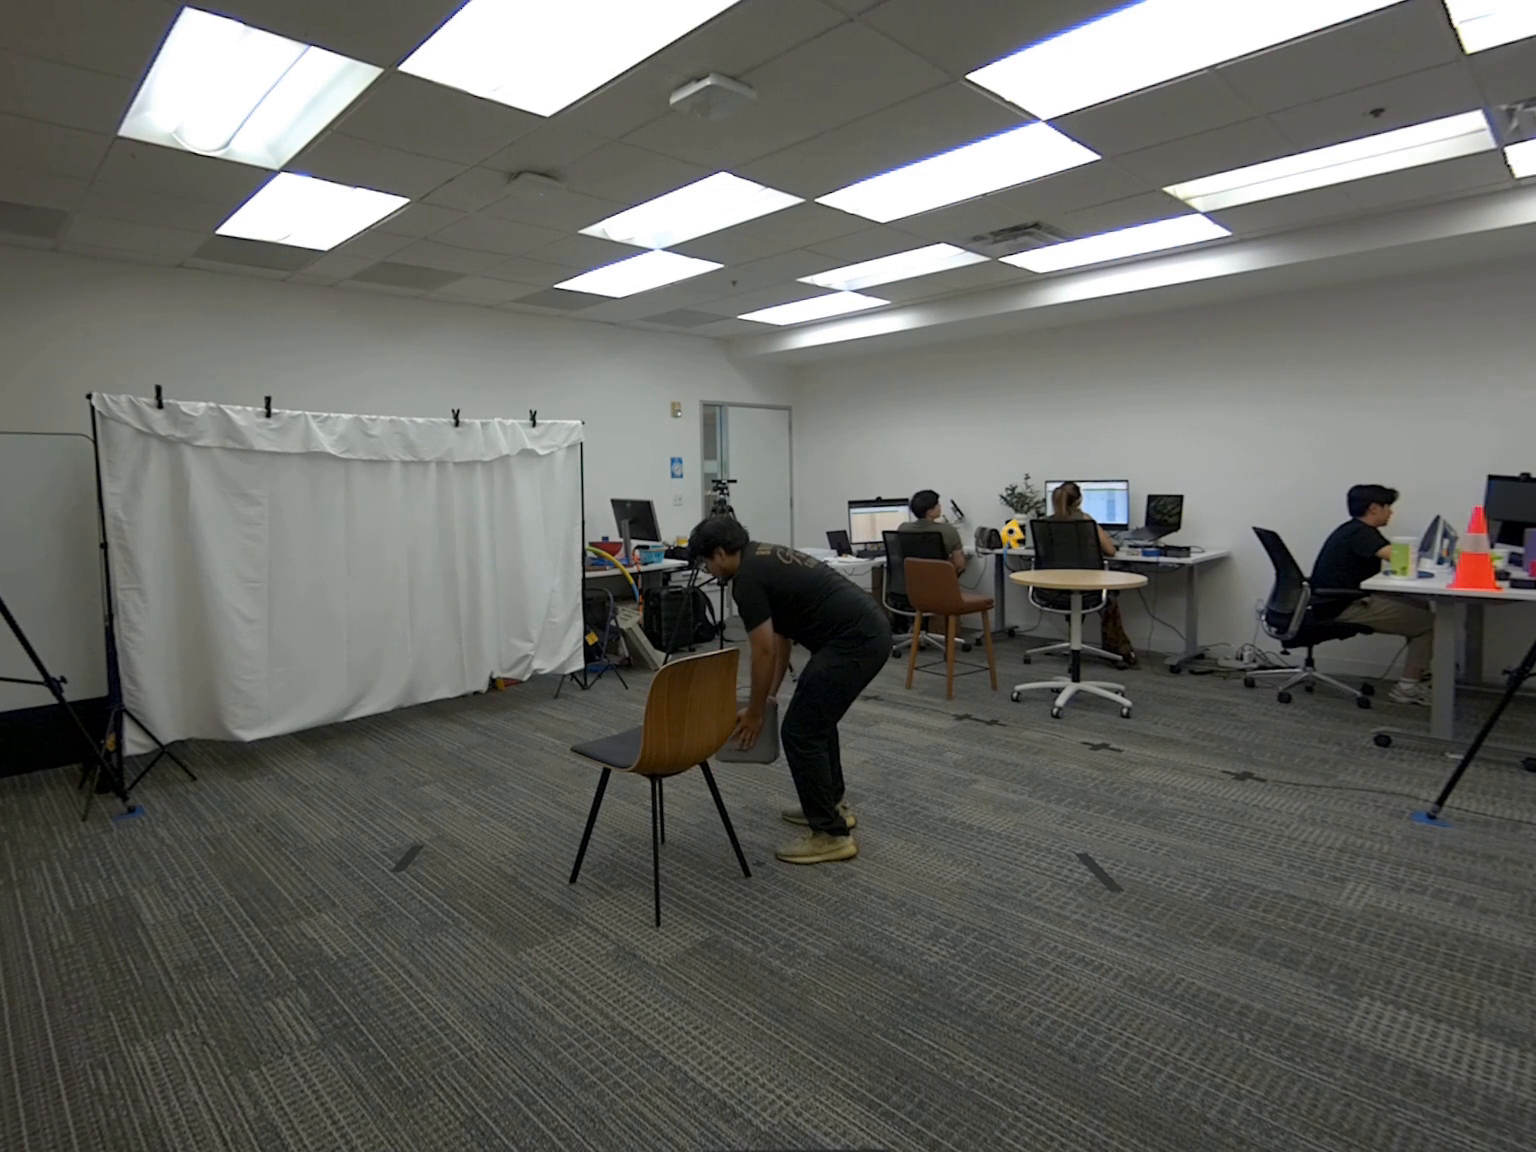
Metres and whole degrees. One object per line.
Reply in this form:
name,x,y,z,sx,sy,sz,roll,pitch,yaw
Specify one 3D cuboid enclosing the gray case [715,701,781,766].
gray case,-0.088,0.608,3.377,0.261,0.262,0.102,-3,-6,19
